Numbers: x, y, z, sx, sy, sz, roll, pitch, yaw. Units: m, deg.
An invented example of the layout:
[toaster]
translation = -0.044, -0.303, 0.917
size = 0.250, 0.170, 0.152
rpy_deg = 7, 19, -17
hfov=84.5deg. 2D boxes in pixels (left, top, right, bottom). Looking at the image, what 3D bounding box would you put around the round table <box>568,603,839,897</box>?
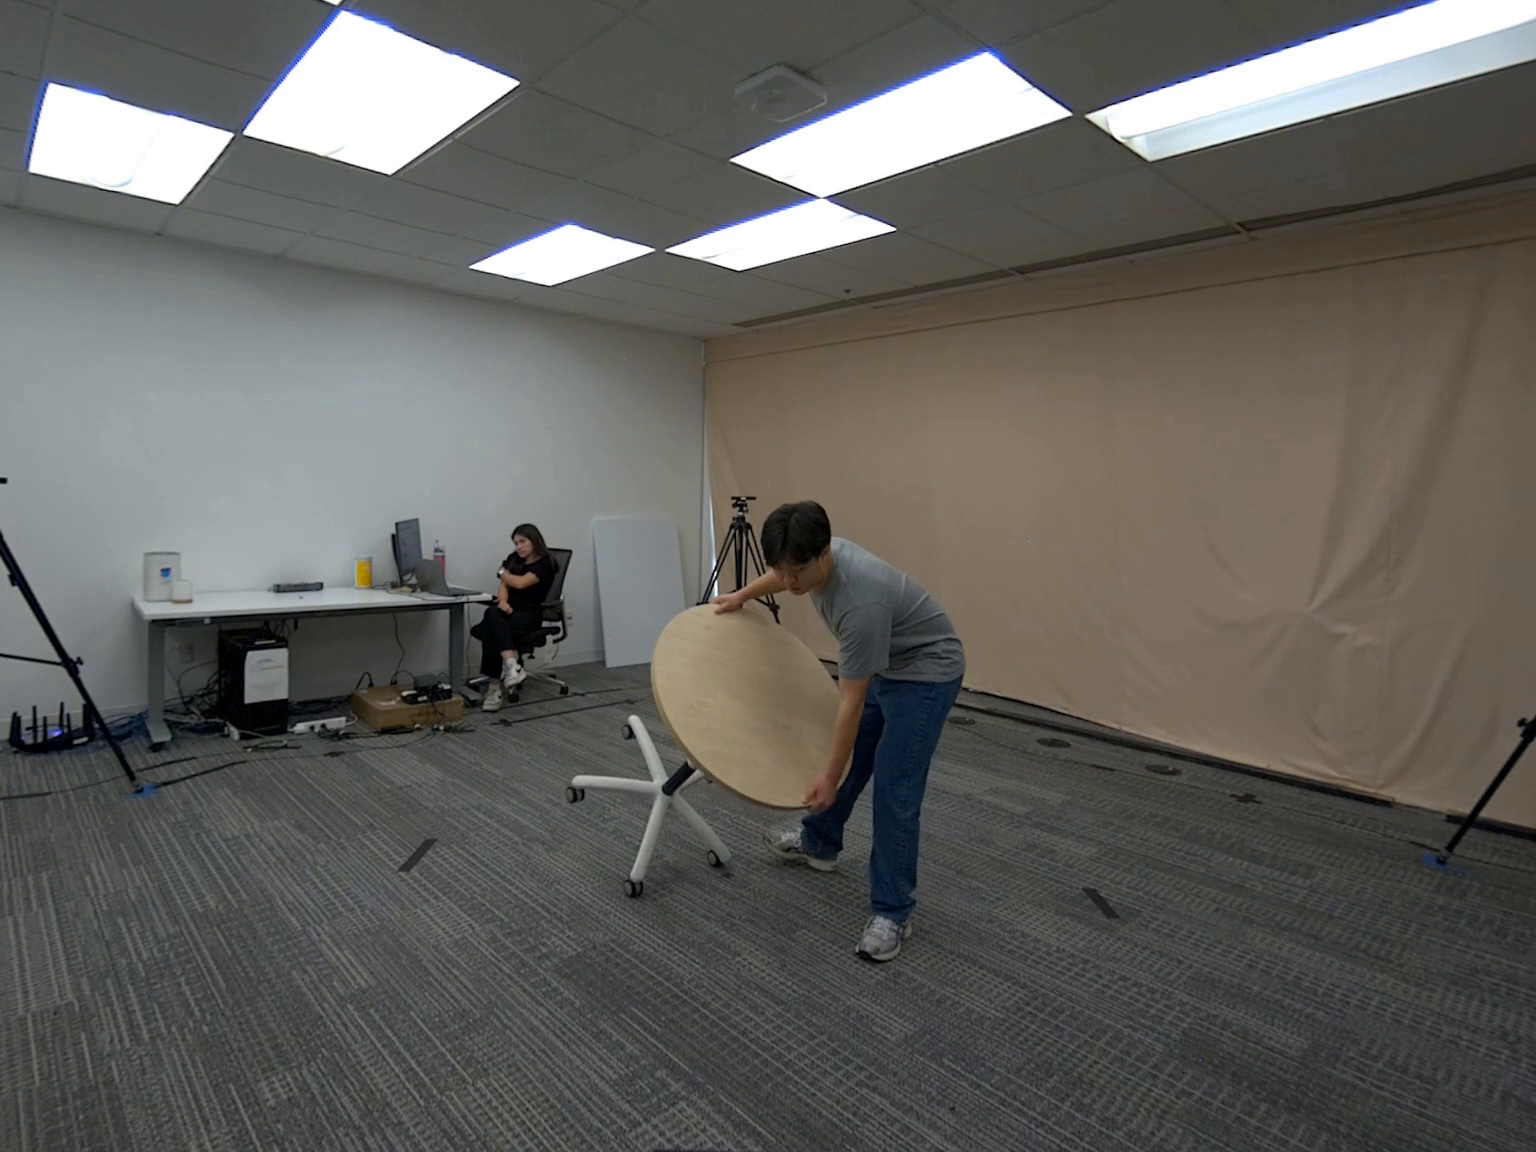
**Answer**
[round table]
translation = -0.253, 0.640, 2.995
size = 0.746, 0.783, 0.792
rpy_deg = -3, -38, -44
